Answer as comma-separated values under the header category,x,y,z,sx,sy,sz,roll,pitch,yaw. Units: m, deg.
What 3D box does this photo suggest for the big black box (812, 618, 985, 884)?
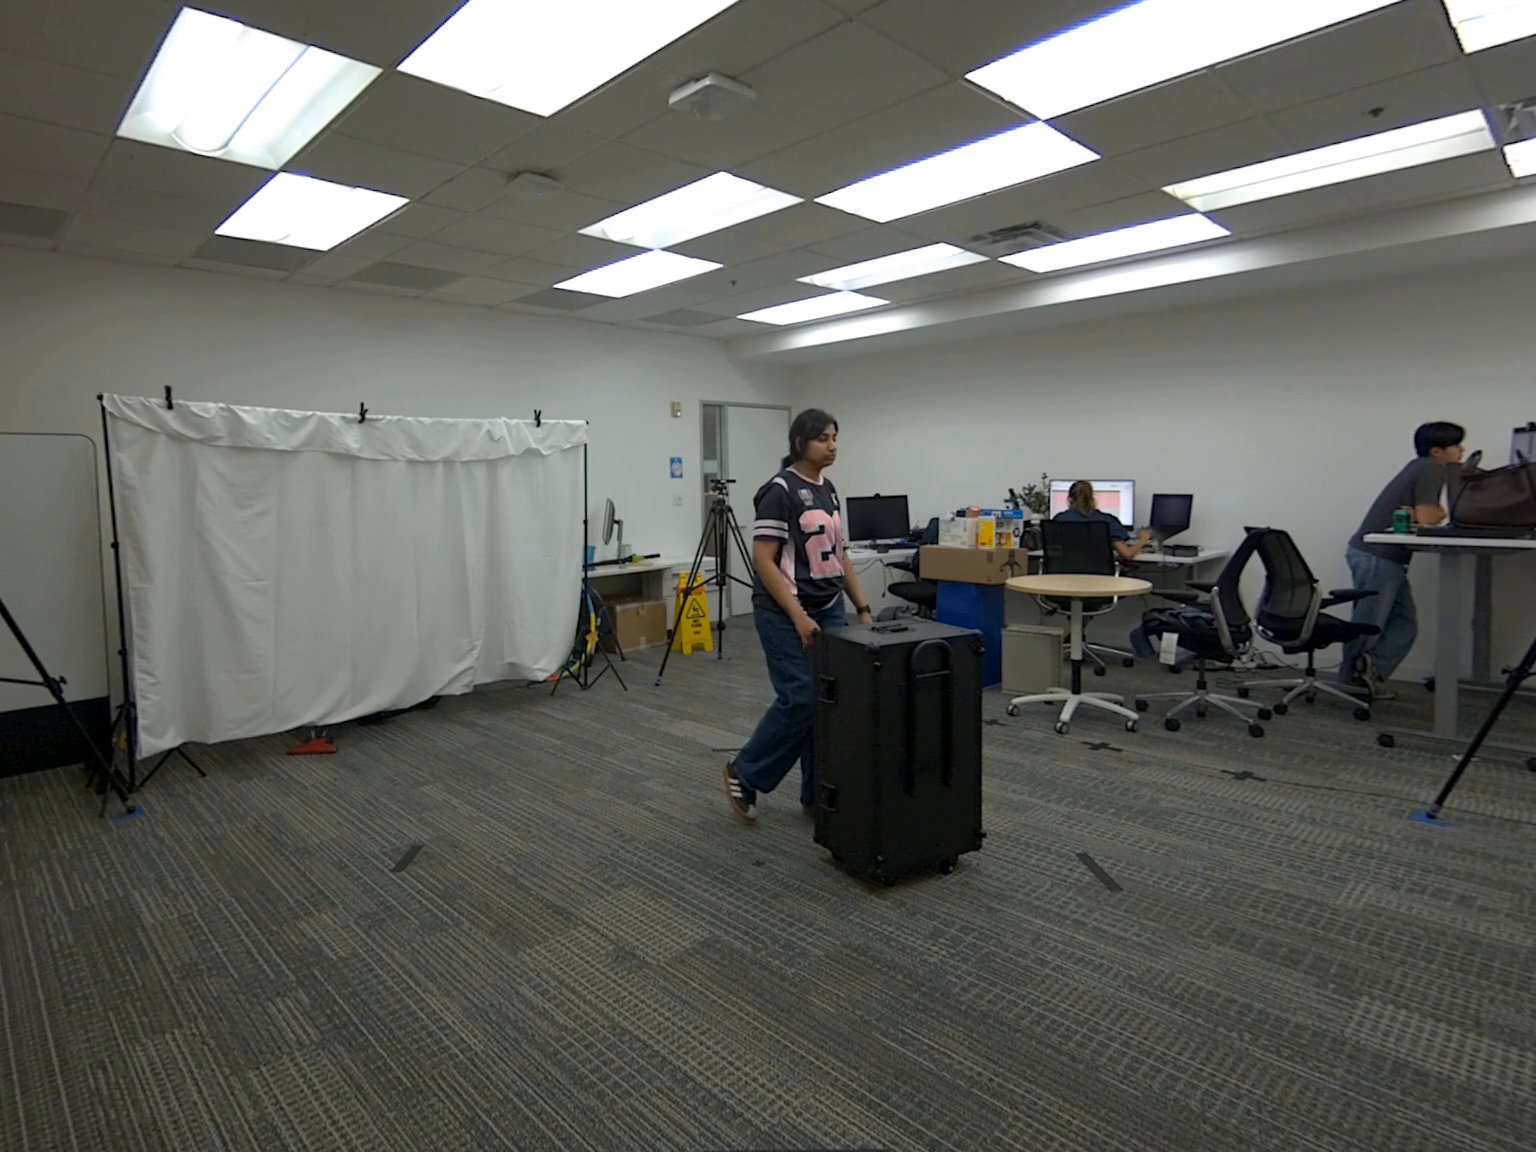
category,x,y,z,sx,sy,sz,roll,pitch,yaw
big black box,0.472,0.621,3.053,0.511,0.865,0.395,-4,5,-29
